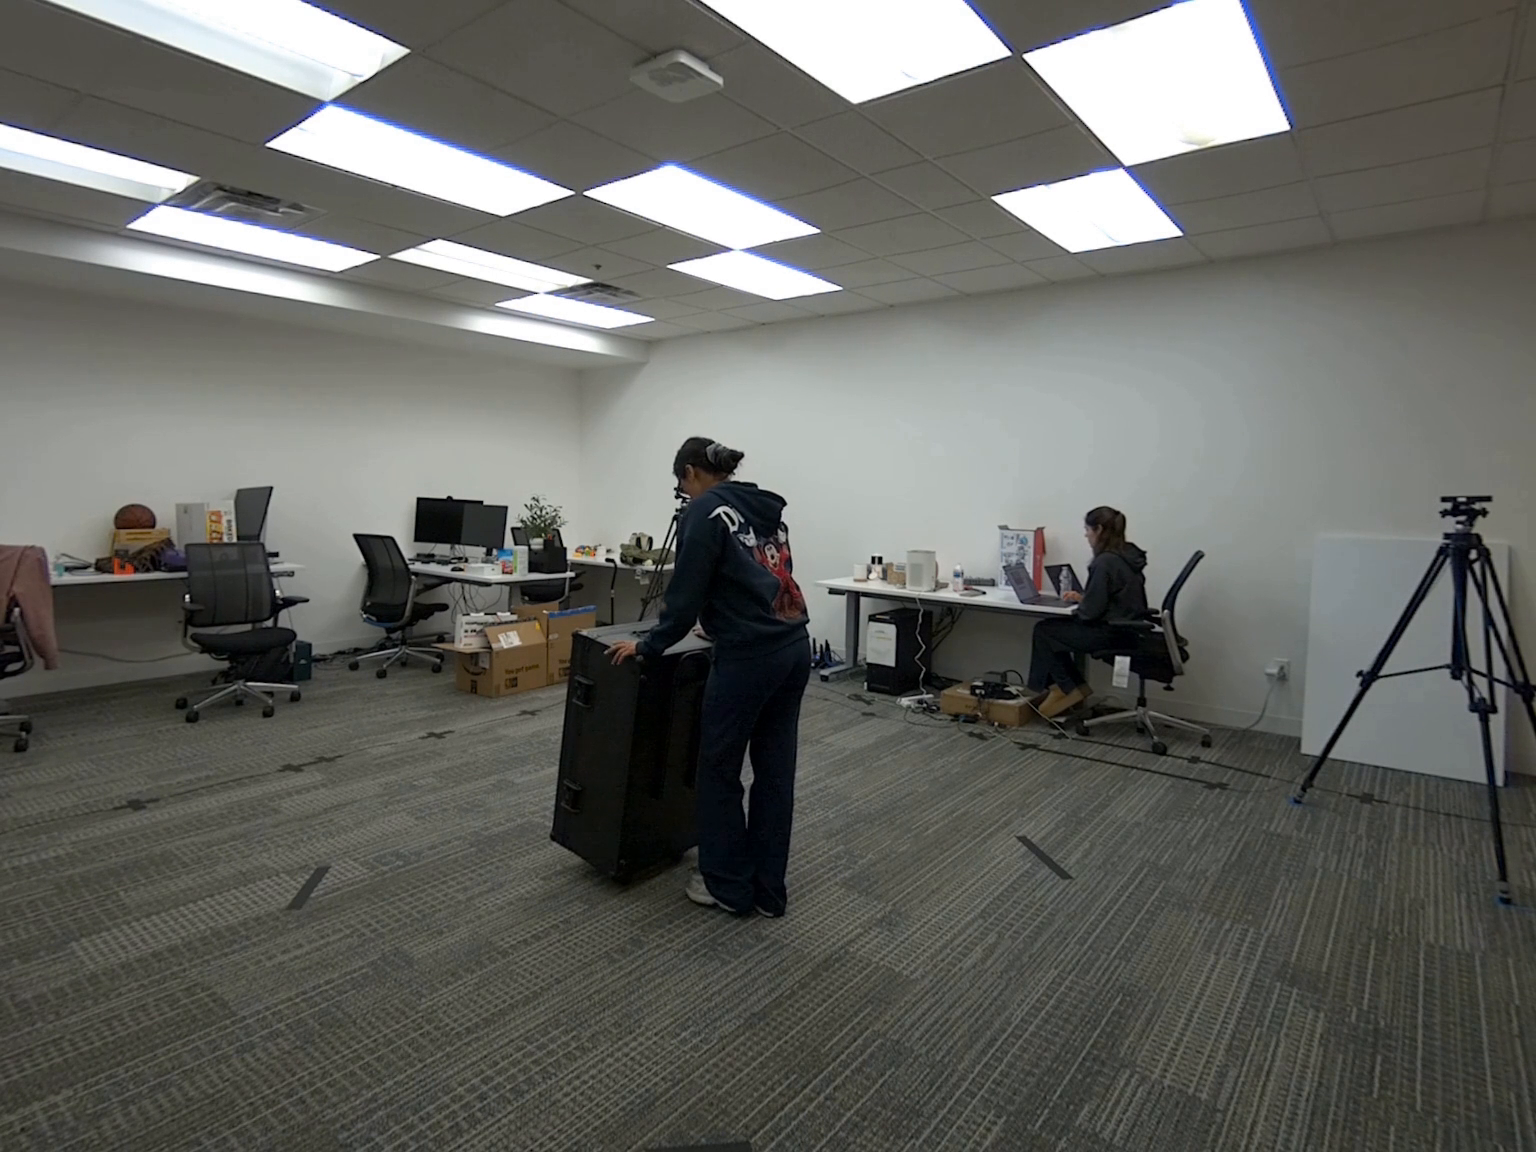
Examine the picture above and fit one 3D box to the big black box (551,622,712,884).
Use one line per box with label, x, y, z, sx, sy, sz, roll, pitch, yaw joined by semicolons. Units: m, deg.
big black box;-0.462;0.628;3.098;0.411;0.856;0.505;14;10;38
